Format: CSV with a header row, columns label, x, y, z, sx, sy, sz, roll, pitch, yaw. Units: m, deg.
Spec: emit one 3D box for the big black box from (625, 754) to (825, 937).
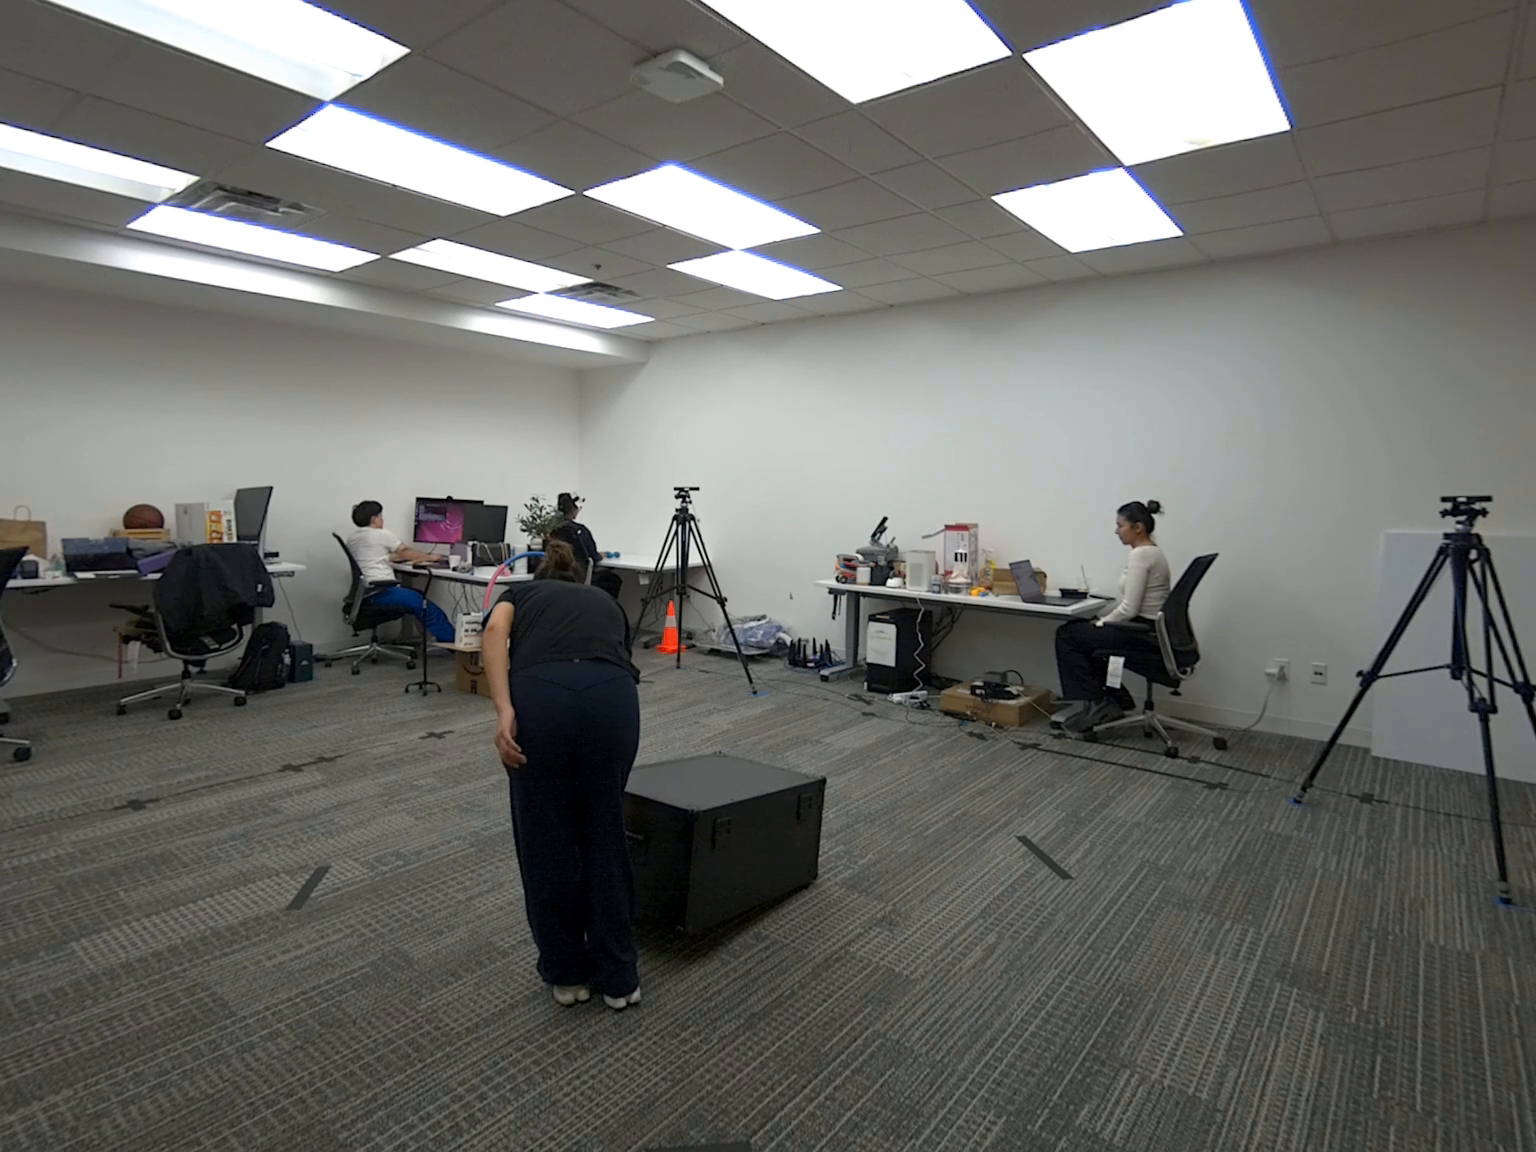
label,x,y,z,sx,sy,sz,roll,pitch,yaw
big black box,-0.179,0.855,2.887,0.538,0.397,0.833,5,-1,34
